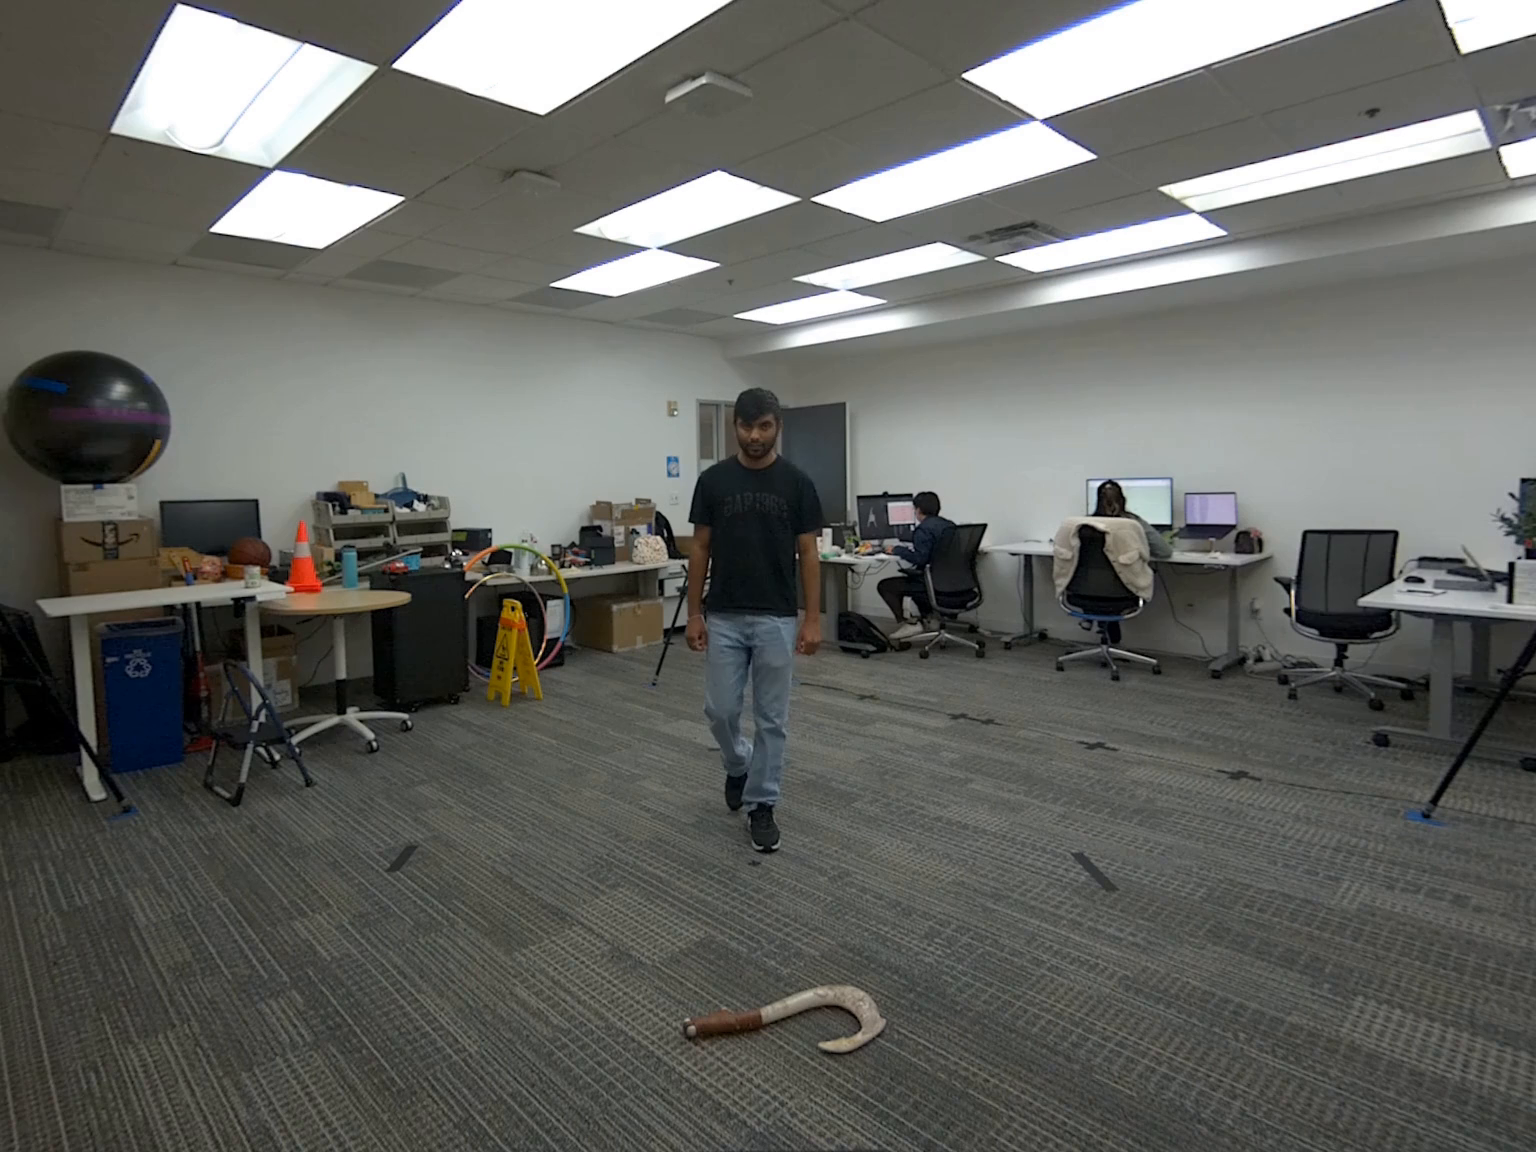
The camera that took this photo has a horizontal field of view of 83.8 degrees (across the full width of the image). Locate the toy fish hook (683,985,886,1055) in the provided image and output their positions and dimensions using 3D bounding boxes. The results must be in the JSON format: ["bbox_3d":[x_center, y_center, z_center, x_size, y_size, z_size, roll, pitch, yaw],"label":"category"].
[{"bbox_3d":[0.051,1.136,2.148,0.500,0.048,0.228,-4,6,-14],"label":"toy fish hook"}]
